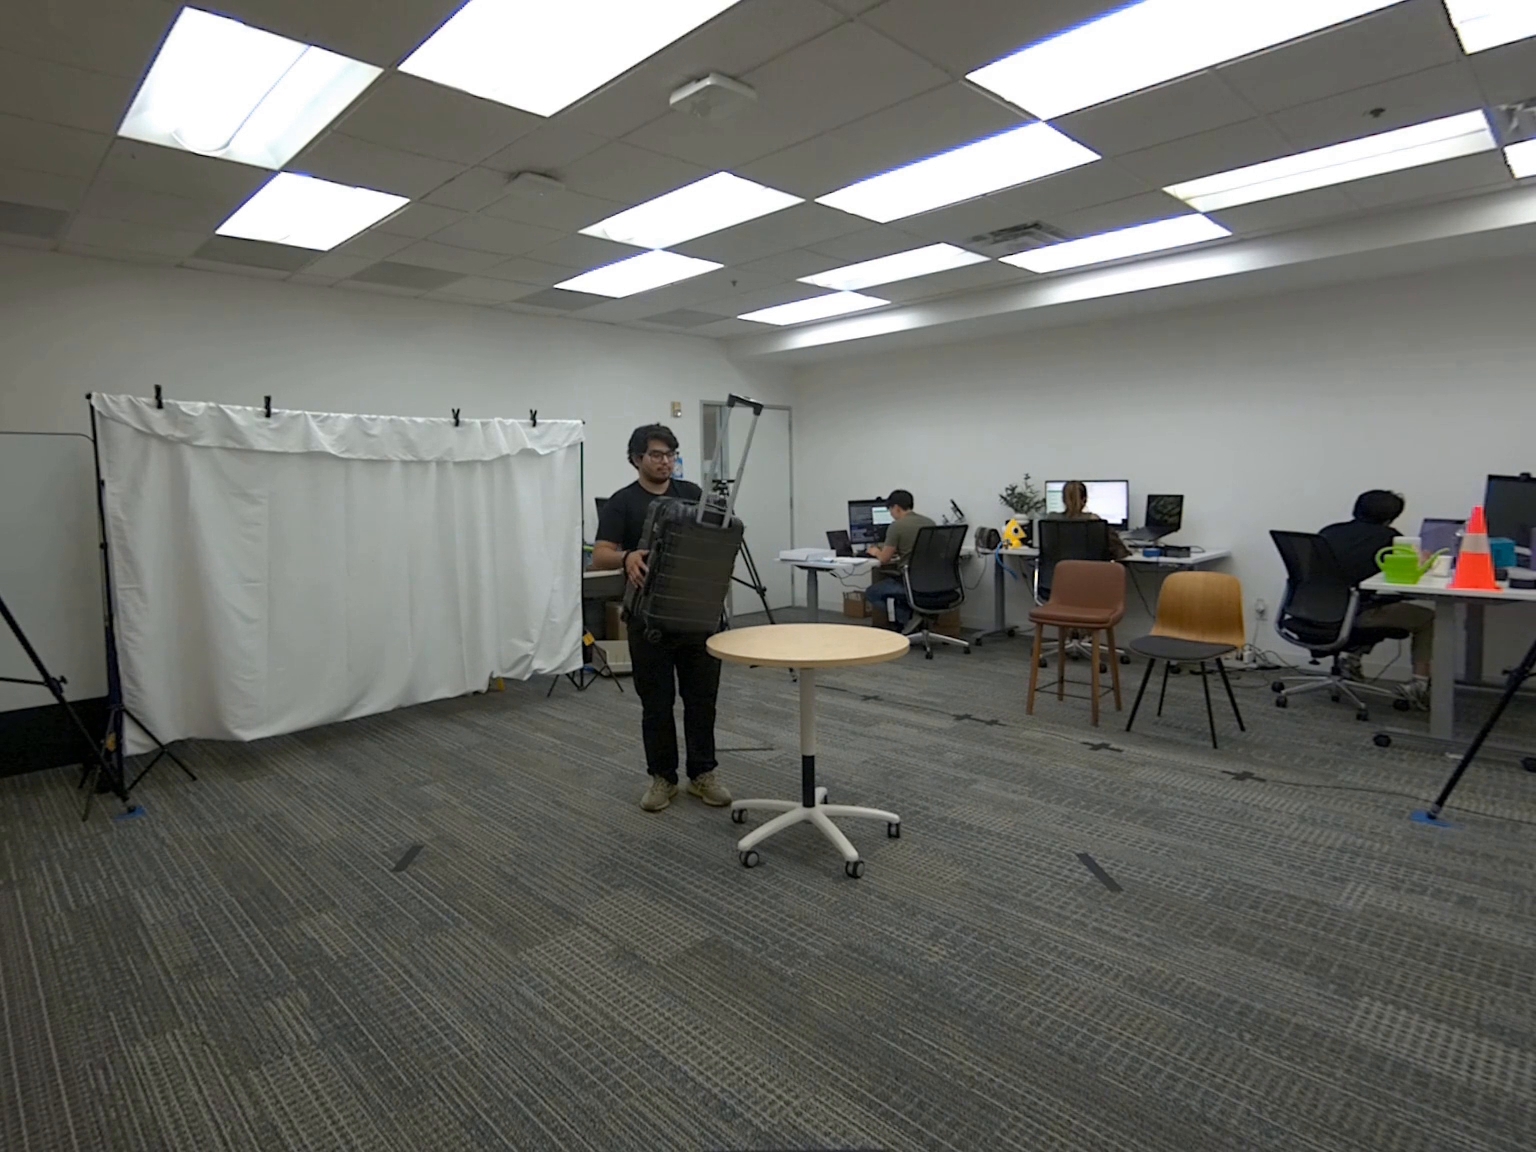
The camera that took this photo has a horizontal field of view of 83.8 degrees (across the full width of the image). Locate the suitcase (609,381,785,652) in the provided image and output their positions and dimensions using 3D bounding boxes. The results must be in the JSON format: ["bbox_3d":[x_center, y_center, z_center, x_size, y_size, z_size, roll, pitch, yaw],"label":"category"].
[{"bbox_3d":[-0.286,-0.229,3.360,0.372,0.975,0.266,10,7,-36],"label":"suitcase"}]
